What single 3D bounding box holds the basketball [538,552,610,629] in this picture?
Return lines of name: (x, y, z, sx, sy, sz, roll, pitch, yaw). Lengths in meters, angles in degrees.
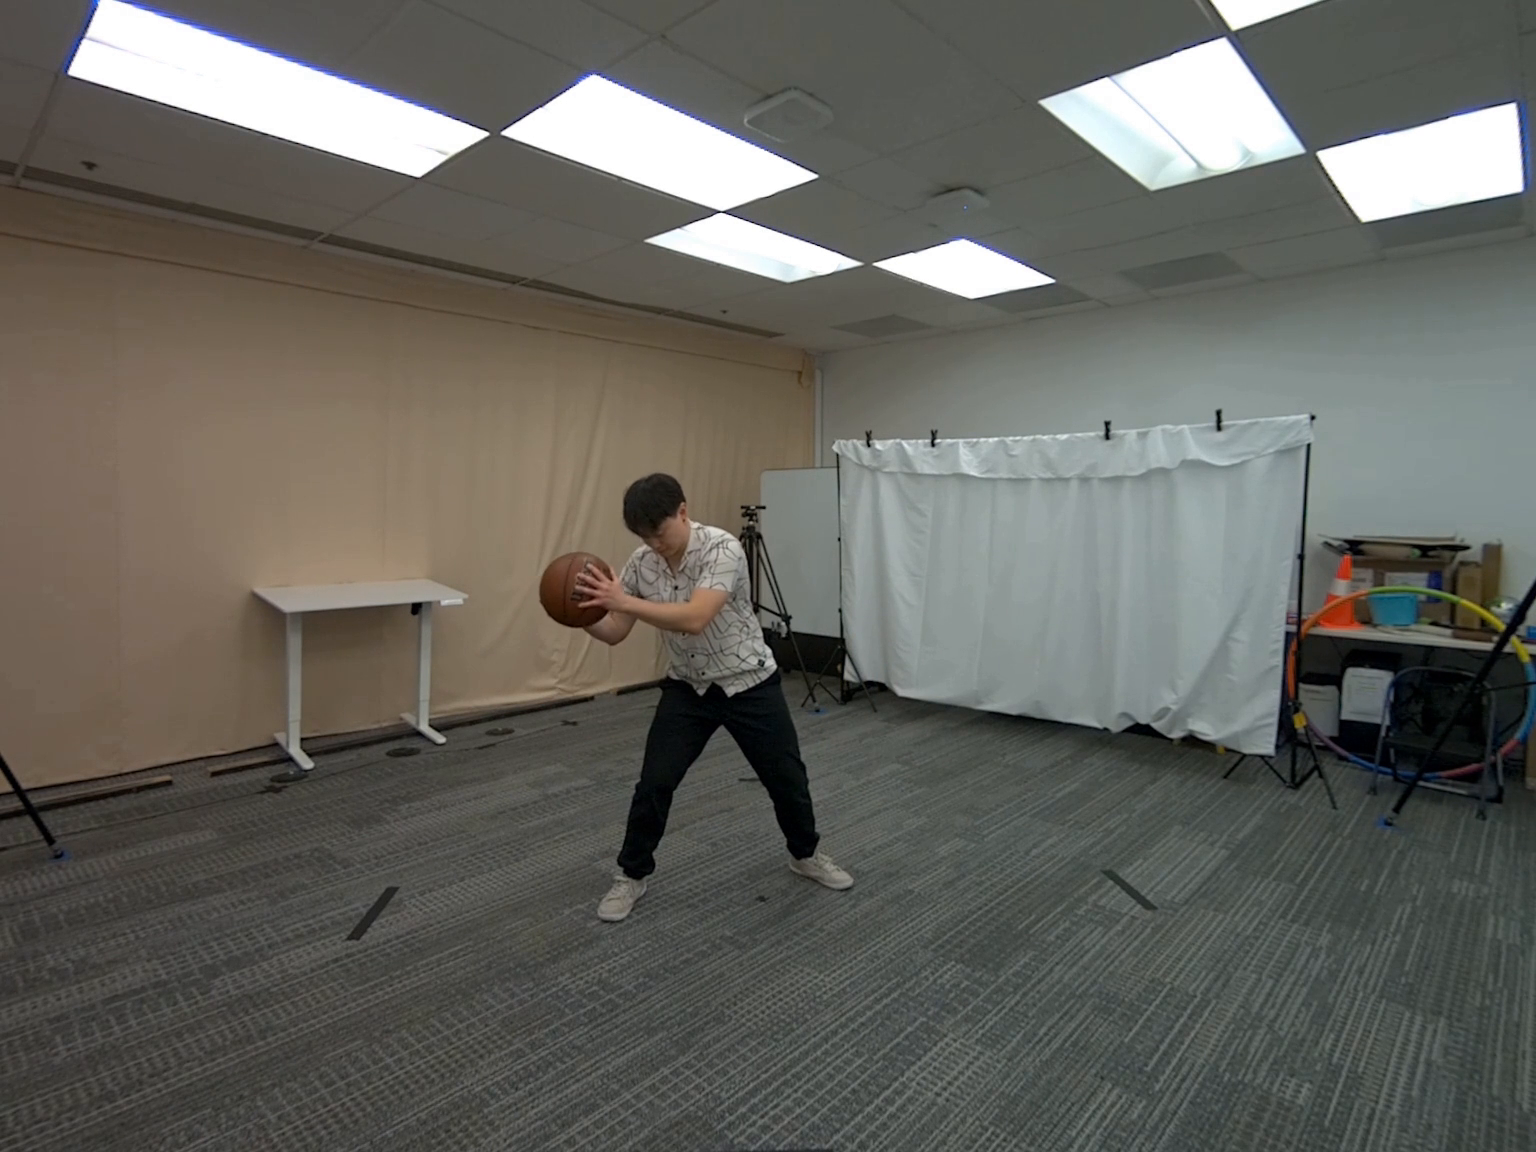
basketball: (-0.595, 0.053, 2.644, 0.236, 0.235, 0.237, 0, 4, -2)
